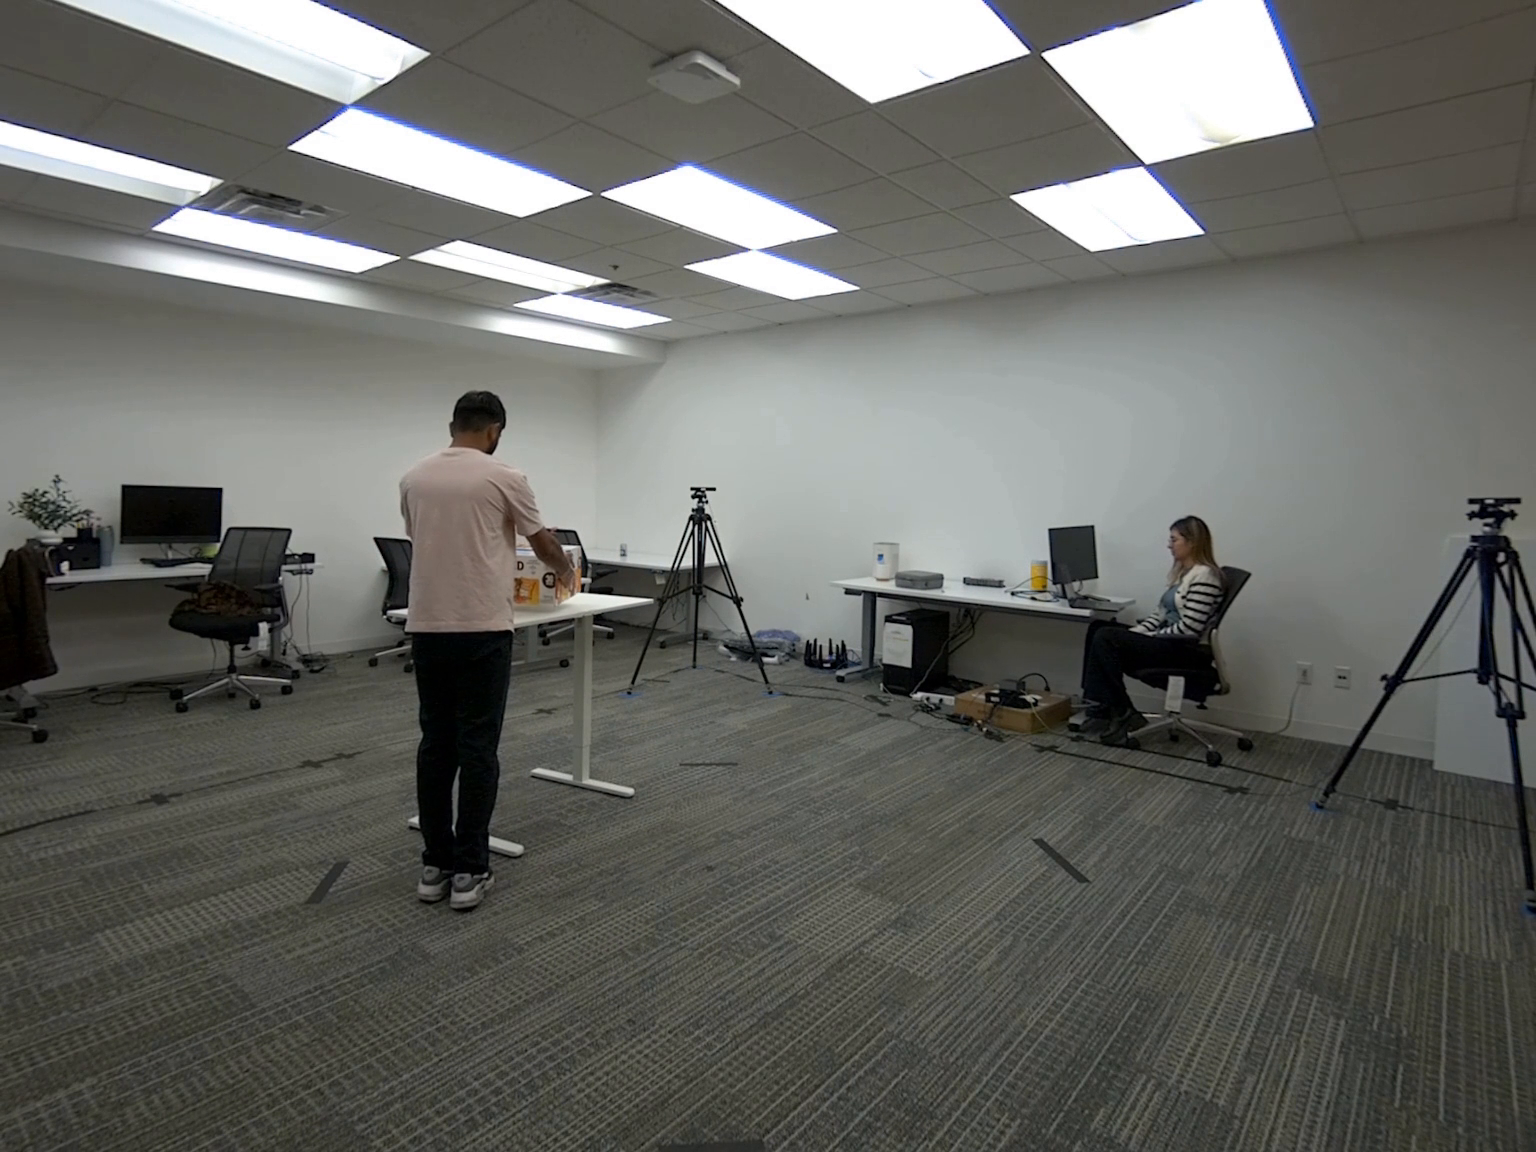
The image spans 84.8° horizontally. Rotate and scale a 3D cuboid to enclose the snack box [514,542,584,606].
[{"bbox_3d":[-1.028,-0.019,3.535,0.408,0.204,0.340,3,7,6],"label":"snack box"}]
